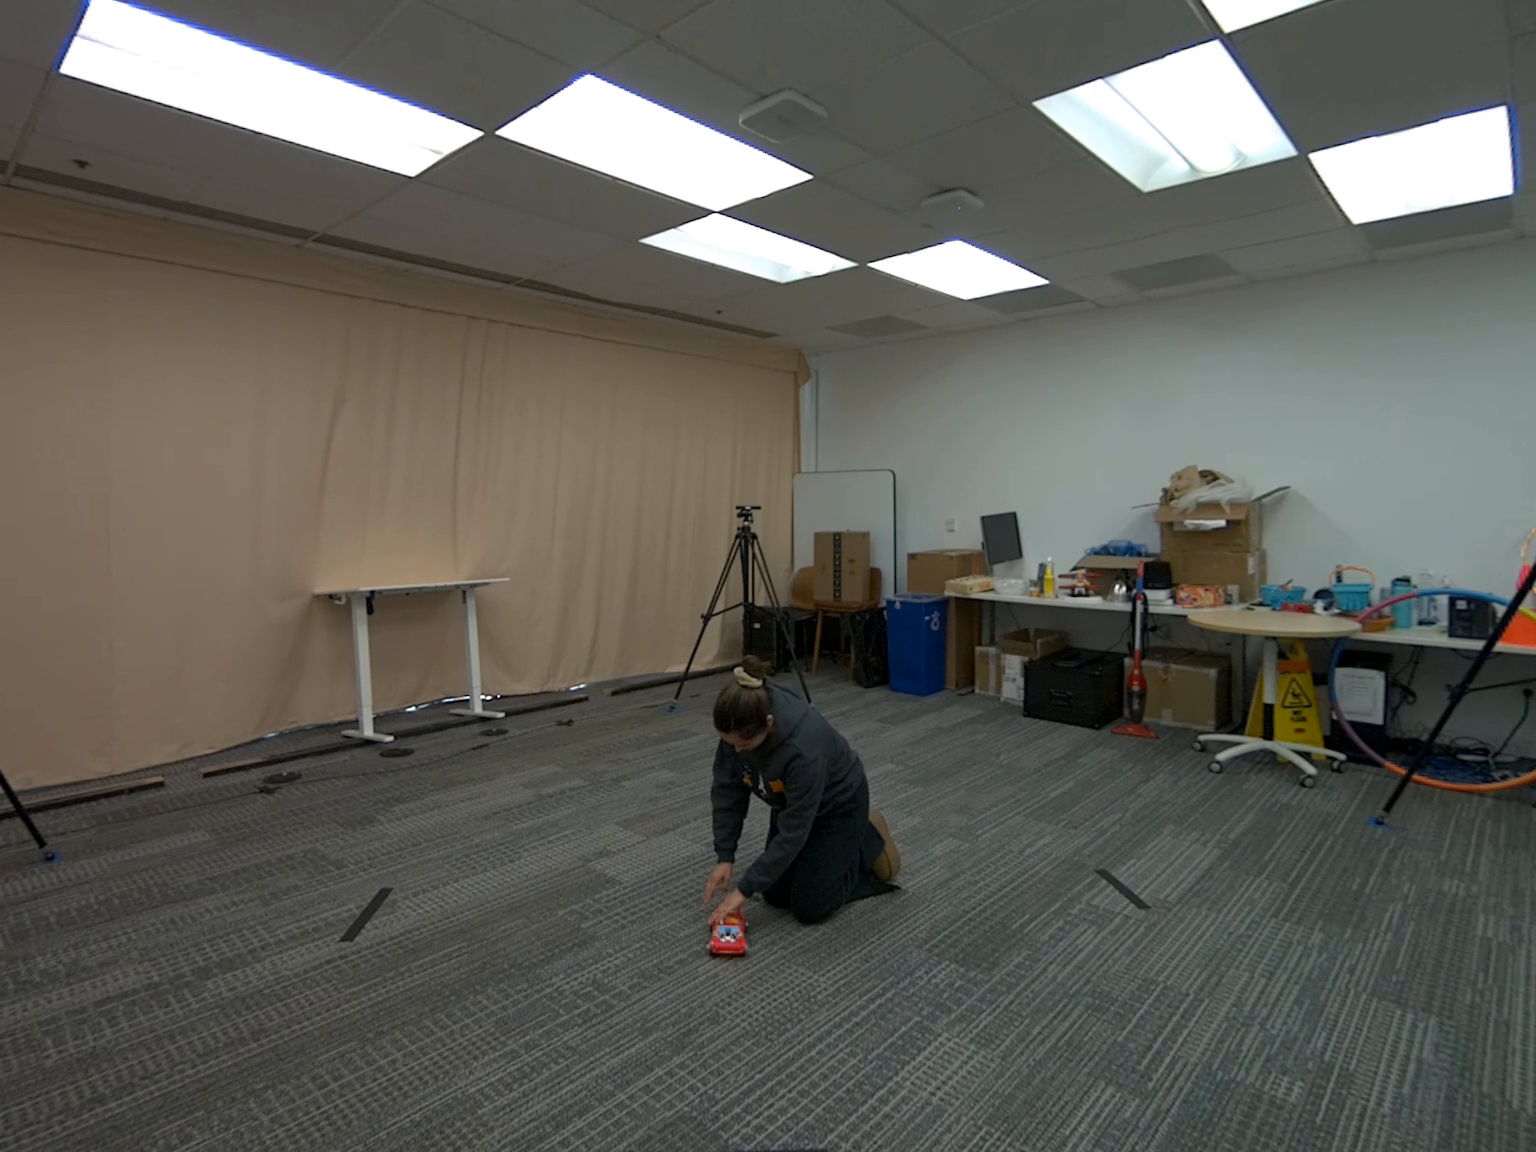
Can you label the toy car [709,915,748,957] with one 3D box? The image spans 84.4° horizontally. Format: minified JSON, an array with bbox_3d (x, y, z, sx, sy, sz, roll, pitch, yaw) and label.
[{"bbox_3d":[-0.101,1.135,2.699,0.130,0.082,0.257,1,16,-1],"label":"toy car"}]
